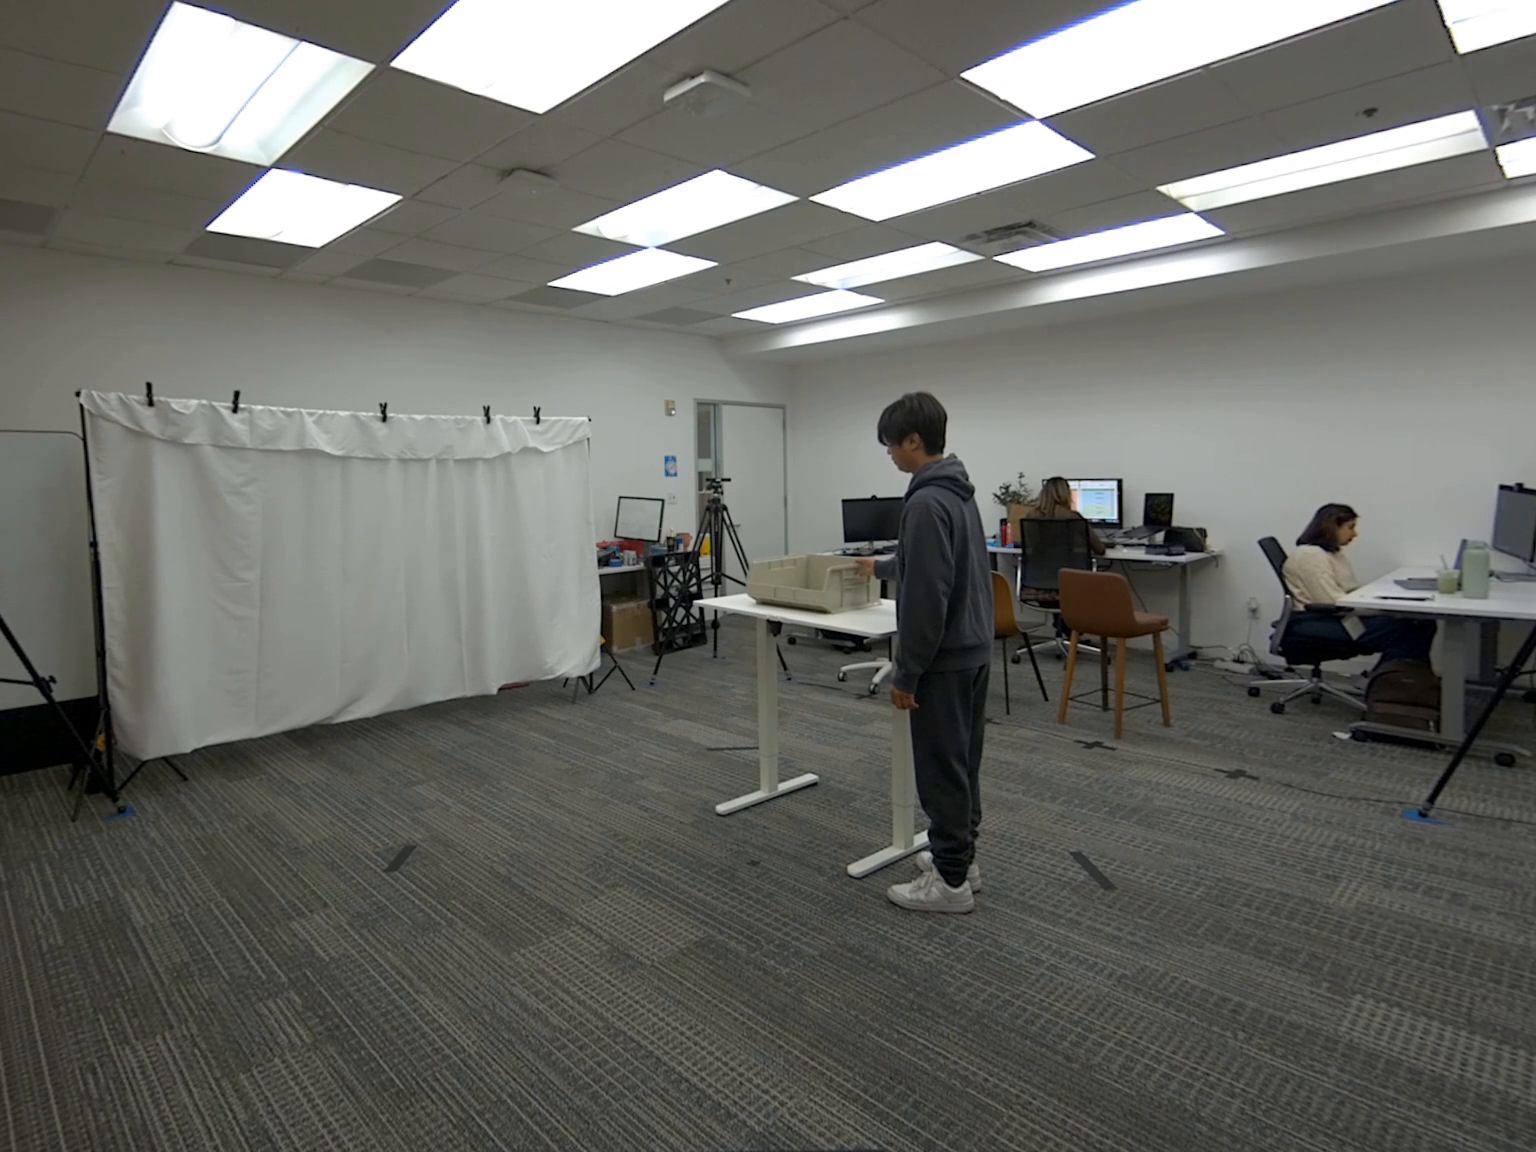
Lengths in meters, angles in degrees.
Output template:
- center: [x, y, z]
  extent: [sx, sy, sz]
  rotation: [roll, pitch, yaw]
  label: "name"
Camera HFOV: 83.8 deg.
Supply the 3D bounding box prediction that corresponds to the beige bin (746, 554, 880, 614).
- center: [0.190, 0.028, 3.443]
  extent: [0.367, 0.188, 0.435]
  rotation: [-6, 8, -44]
  label: "beige bin"
